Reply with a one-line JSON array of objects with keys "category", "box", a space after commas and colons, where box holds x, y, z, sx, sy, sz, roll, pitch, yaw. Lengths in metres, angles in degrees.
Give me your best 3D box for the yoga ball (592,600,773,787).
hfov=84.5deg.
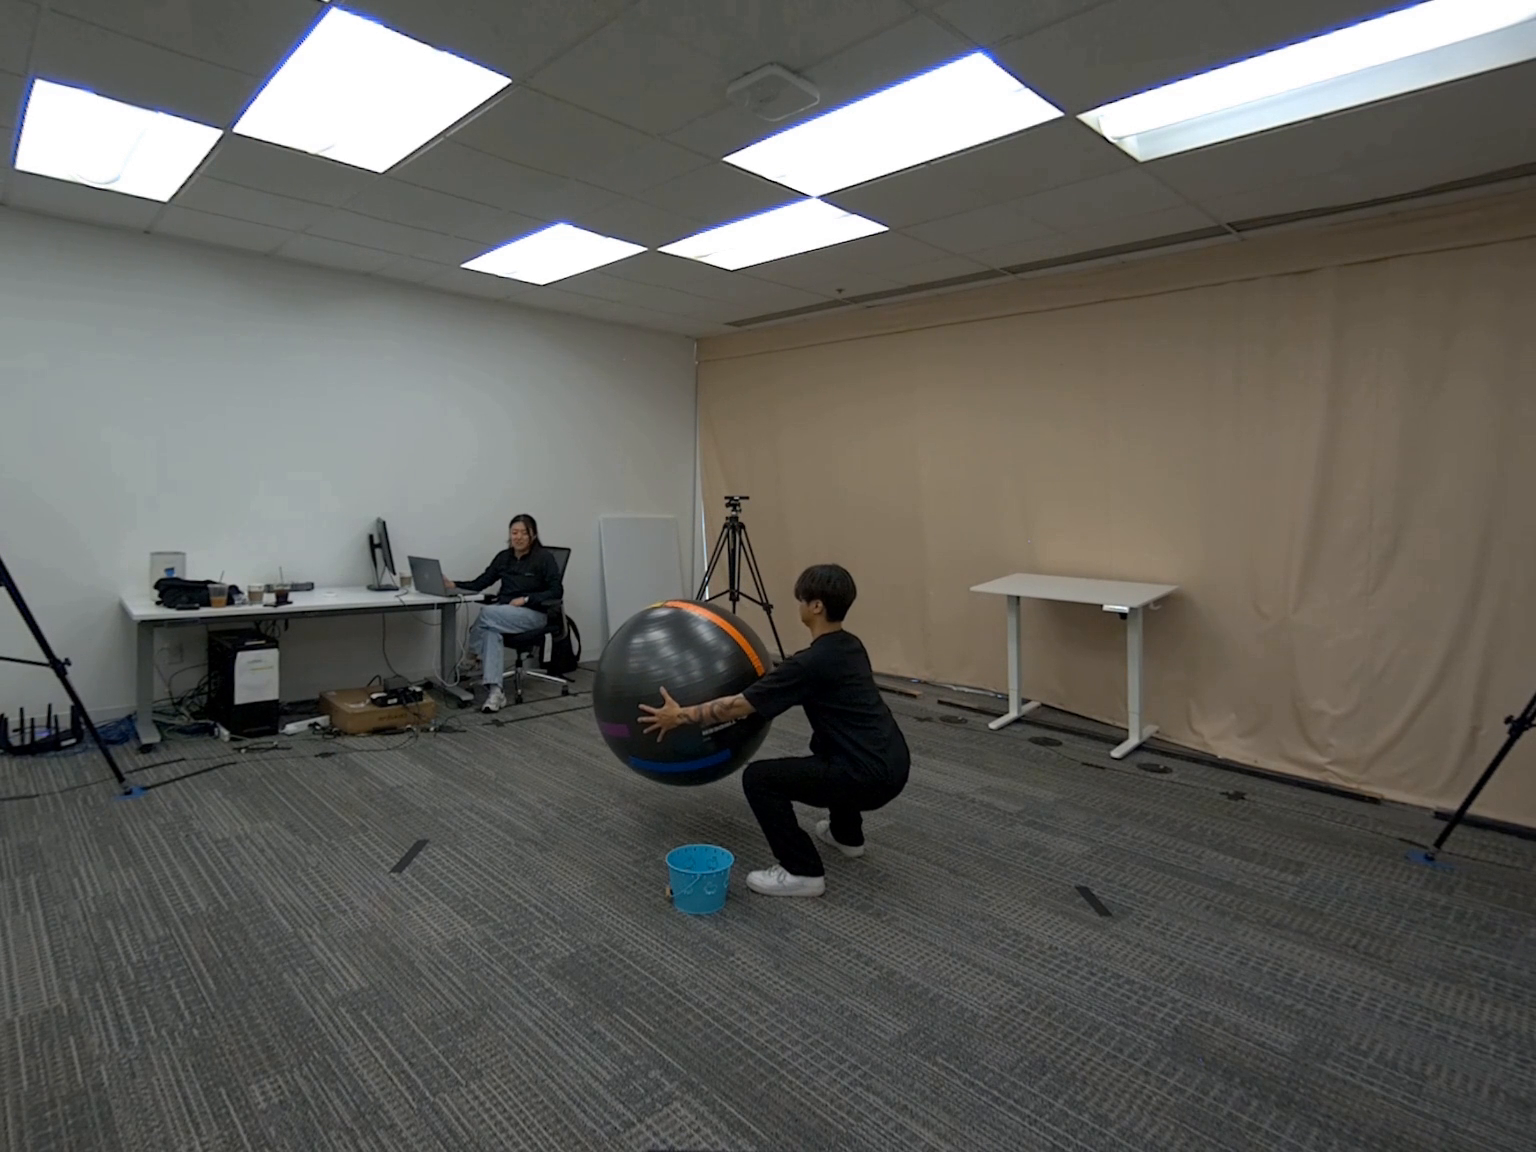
[{"category": "yoga ball", "box": [-0.357, 0.485, 3.513, 0.757, 0.756, 0.761, 1, 4, -1]}]
